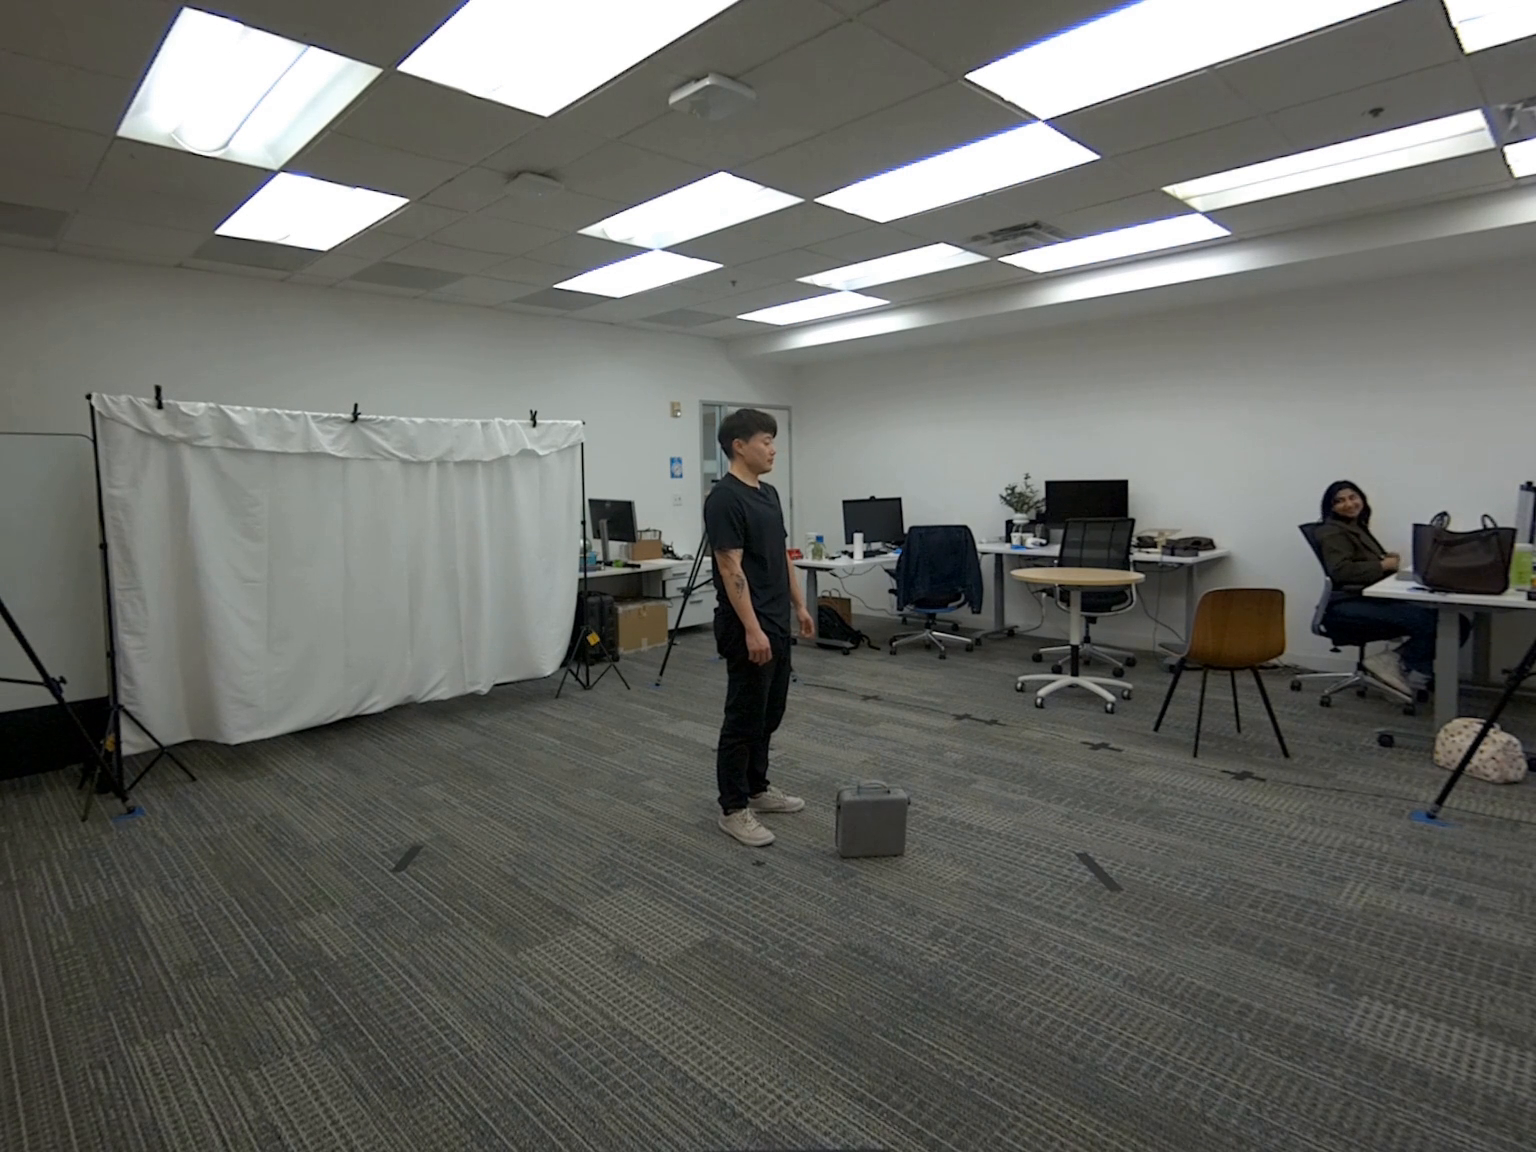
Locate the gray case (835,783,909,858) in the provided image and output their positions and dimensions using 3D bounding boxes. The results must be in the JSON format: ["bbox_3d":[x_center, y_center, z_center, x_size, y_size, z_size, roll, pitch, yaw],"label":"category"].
[{"bbox_3d":[0.389,0.900,3.155,0.256,0.258,0.106,-2,12,-3],"label":"gray case"}]
